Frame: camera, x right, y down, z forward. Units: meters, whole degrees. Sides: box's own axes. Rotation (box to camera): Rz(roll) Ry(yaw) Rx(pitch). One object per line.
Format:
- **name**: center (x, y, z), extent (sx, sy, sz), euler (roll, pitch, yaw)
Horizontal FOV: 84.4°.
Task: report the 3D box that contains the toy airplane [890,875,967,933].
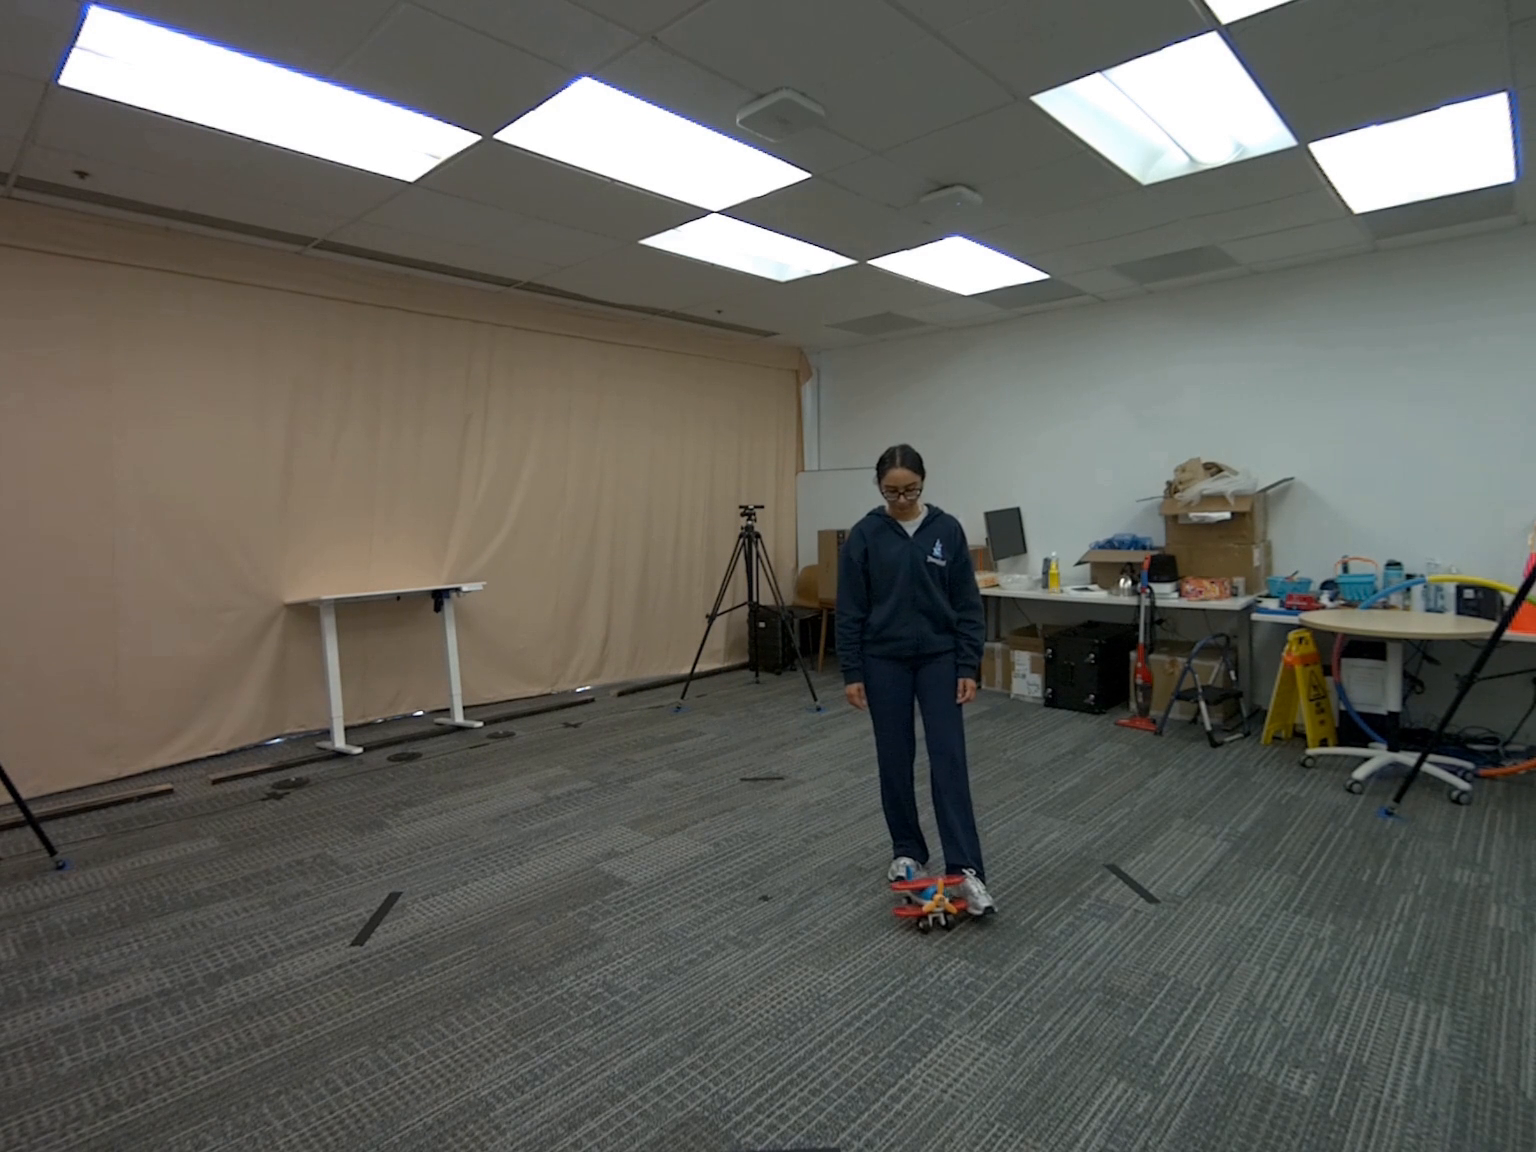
- **toy airplane**: center (0.504, 1.065, 2.805), extent (0.243, 0.156, 0.268), euler (-5, 7, -40)
